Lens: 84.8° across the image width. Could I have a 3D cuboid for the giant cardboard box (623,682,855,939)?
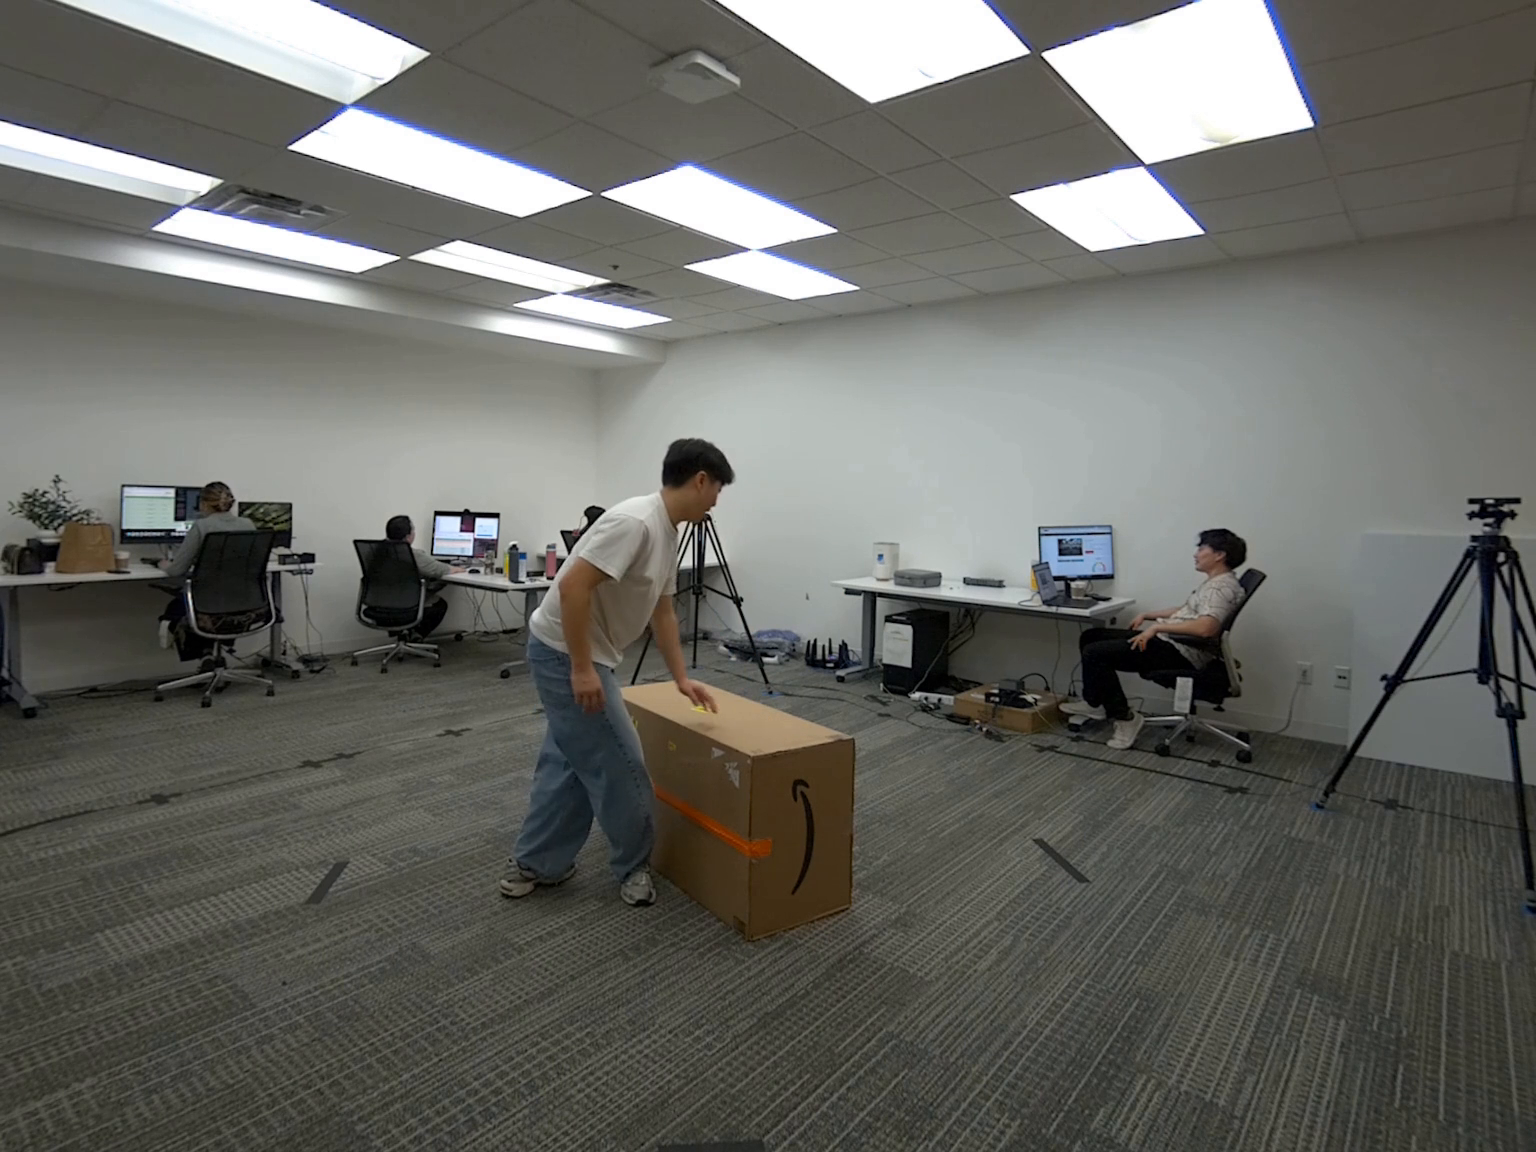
[{"bbox_3d":[-0.198,0.778,3.121,0.414,0.576,1.059,-1,5,-35],"label":"giant cardboard box"}]
